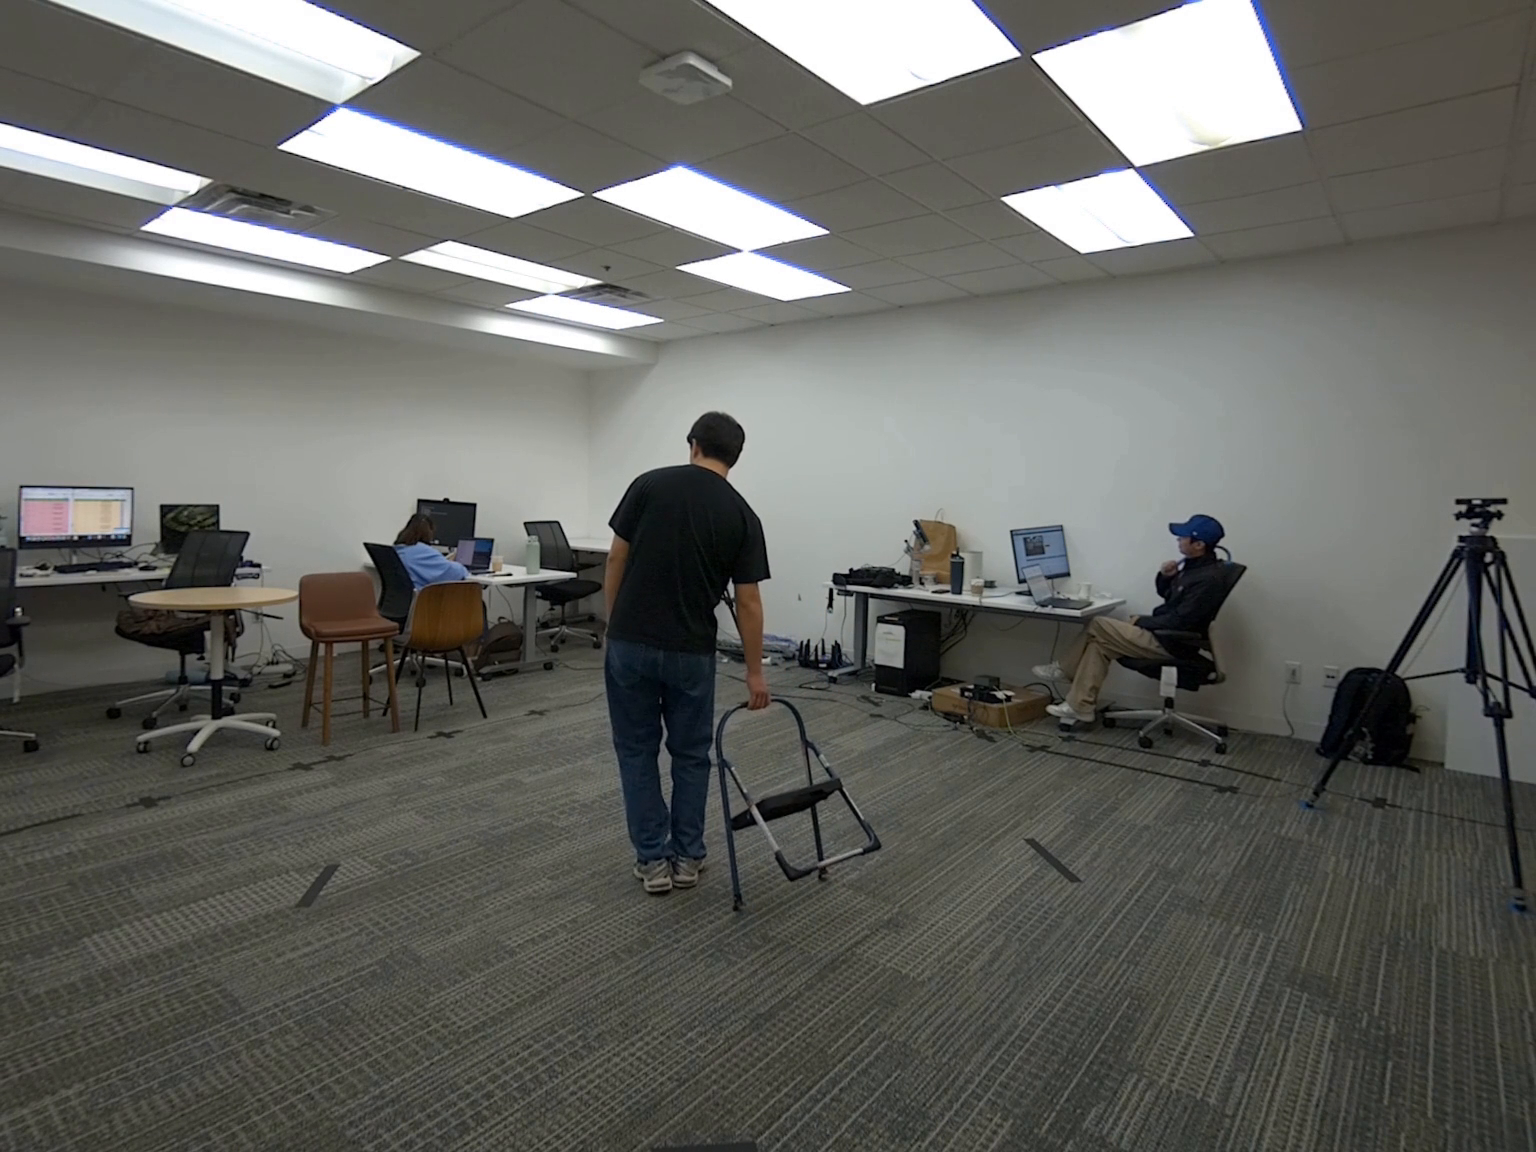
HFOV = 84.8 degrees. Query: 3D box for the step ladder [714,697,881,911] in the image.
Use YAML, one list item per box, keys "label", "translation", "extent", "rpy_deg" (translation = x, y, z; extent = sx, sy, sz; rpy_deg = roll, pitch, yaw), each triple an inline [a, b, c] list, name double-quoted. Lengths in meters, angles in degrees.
- label: "step ladder"
  translation: [0.025, 0.742, 2.945]
  extent: [0.417, 0.623, 0.350]
  rpy_deg: [-1, -31, -41]
